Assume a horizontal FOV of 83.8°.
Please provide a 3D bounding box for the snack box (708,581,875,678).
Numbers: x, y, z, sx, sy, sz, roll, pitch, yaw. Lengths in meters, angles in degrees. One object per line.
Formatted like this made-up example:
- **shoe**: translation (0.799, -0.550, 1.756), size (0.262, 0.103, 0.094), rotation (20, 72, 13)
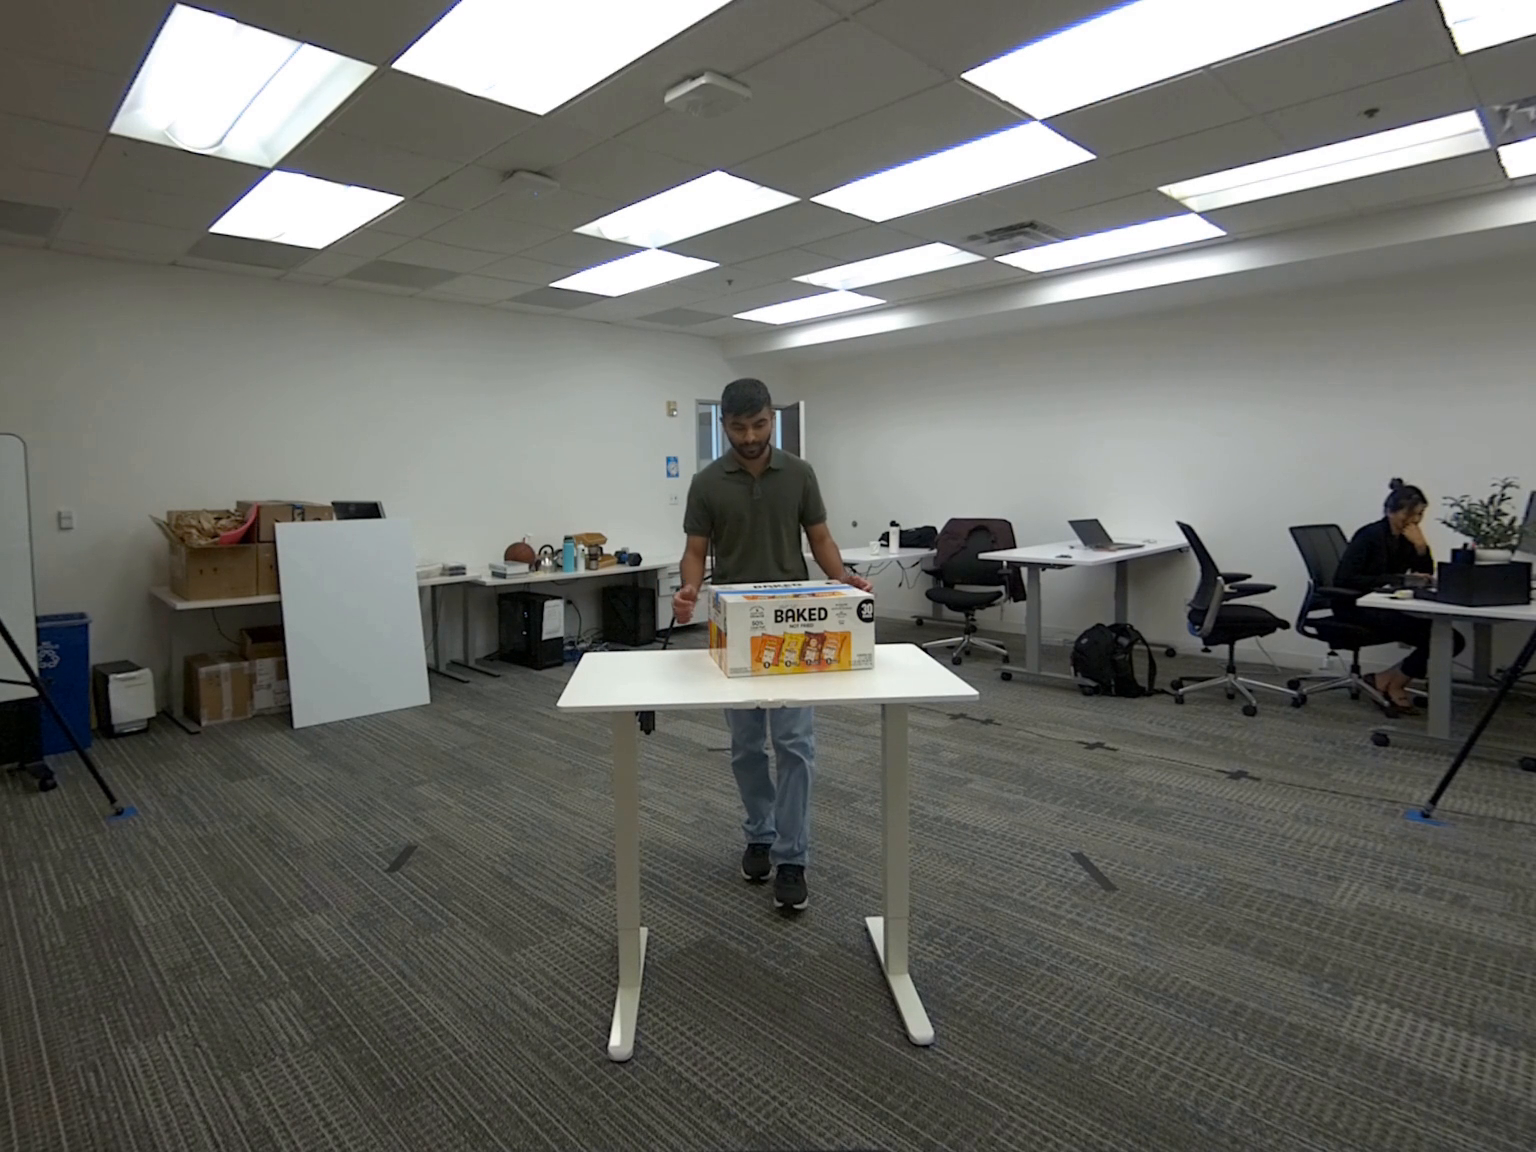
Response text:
- **snack box**: translation (0.053, 0.140, 2.425), size (0.401, 0.205, 0.345), rotation (-2, 6, -11)
